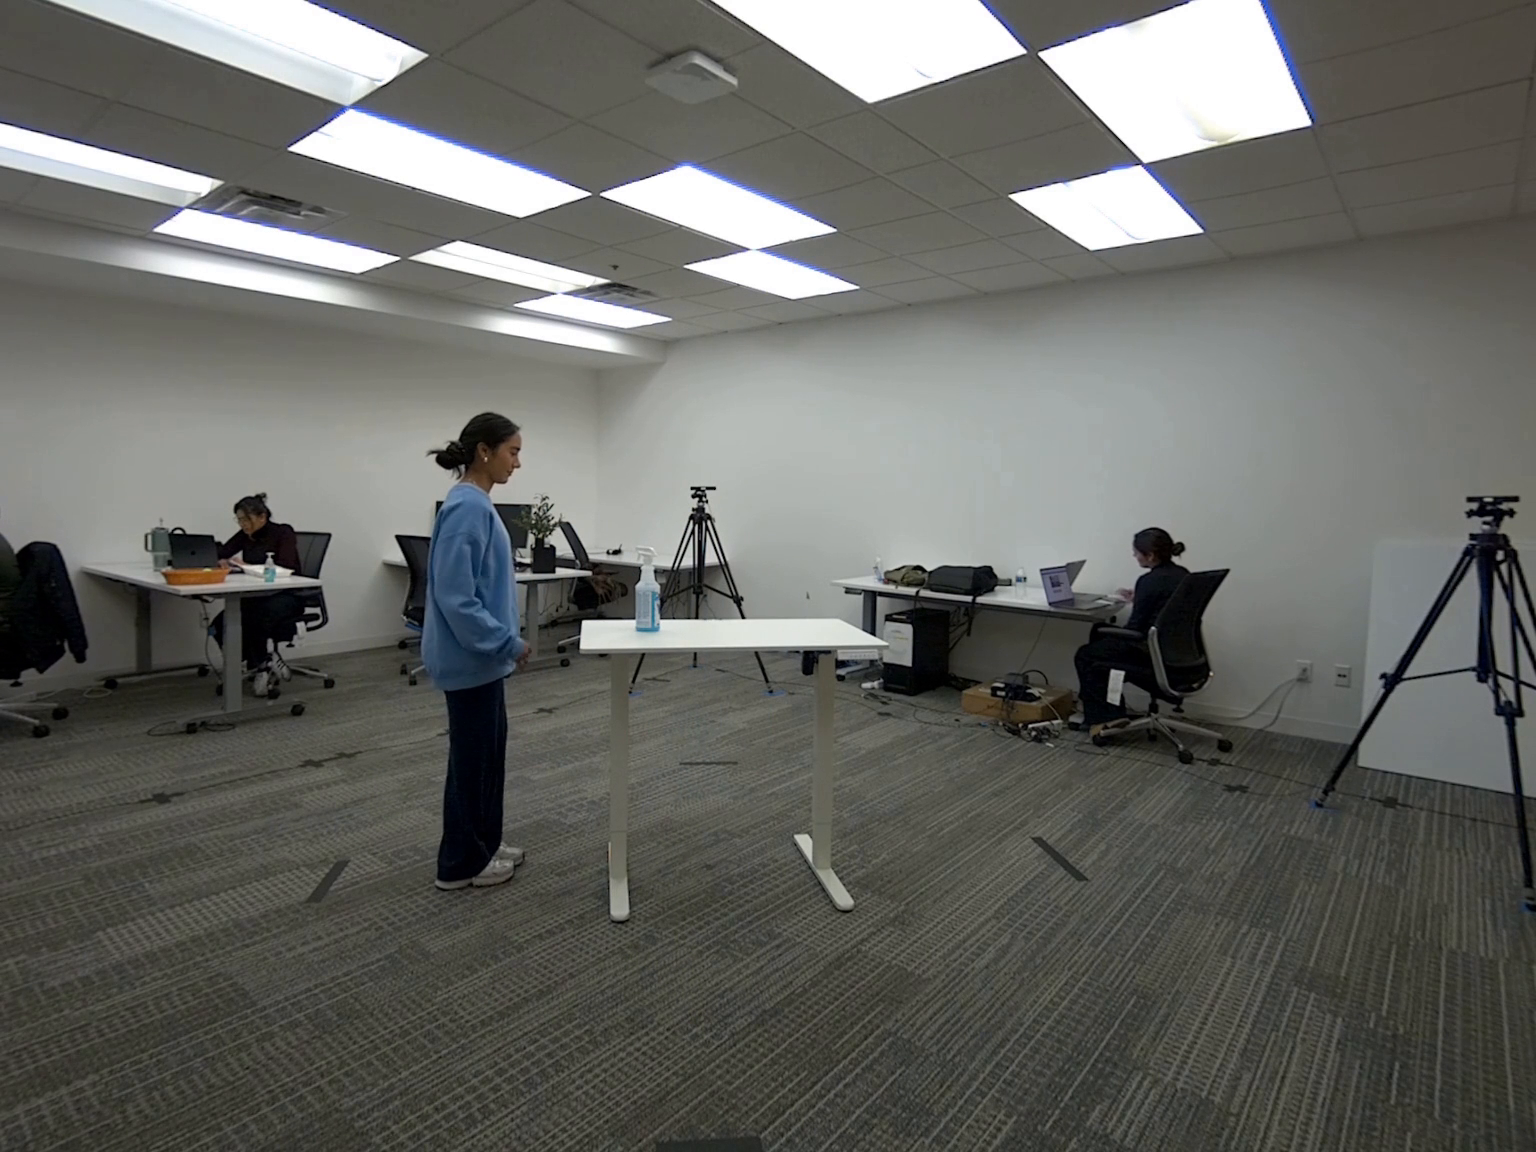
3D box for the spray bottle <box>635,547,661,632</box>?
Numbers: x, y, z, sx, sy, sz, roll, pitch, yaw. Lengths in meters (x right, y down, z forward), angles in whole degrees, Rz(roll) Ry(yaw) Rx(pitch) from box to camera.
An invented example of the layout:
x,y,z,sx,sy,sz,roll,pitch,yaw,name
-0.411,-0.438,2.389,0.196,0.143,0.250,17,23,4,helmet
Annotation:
x,y,z,sx,sy,sz,roll,pitch,yaw,name
-0.439,0.047,3.004,0.084,0.297,0.093,-1,1,-33,spray bottle
